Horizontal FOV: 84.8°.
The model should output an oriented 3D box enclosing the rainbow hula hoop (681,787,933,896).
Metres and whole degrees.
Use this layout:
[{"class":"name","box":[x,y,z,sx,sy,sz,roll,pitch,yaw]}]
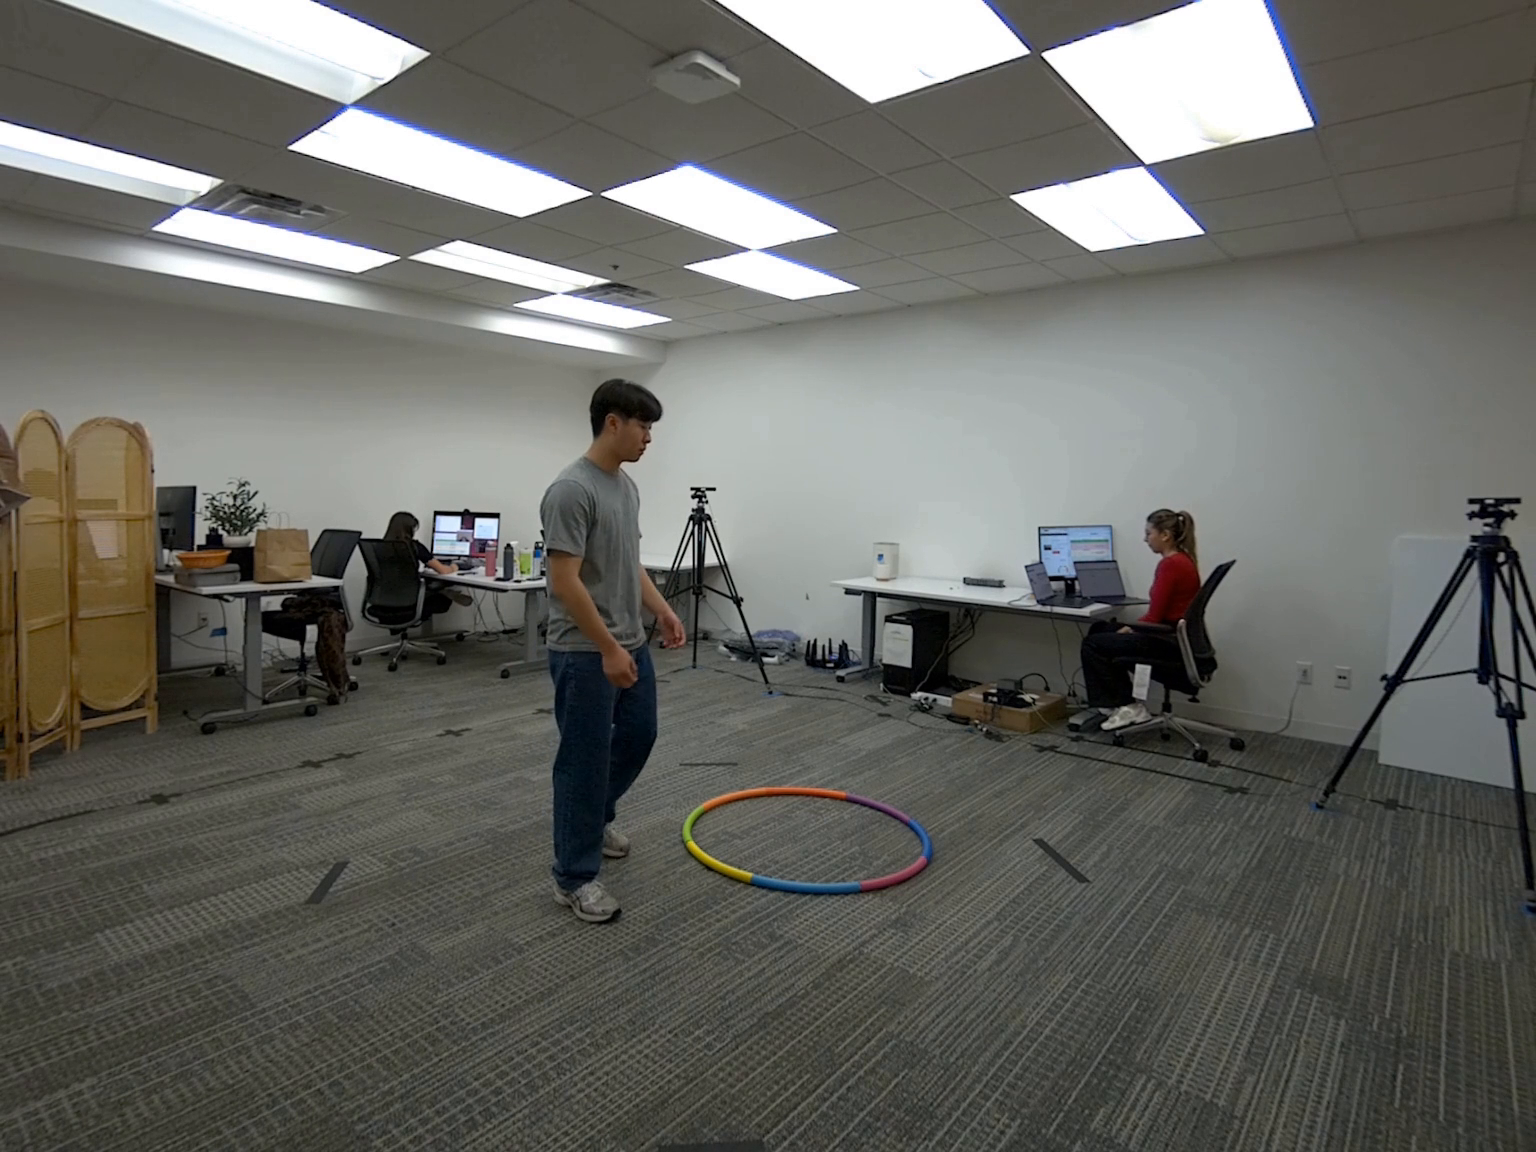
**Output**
[{"class":"rainbow hula hoop","box":[0.140,1.018,3.400,0.978,0.035,0.984,1,6,-2]}]
